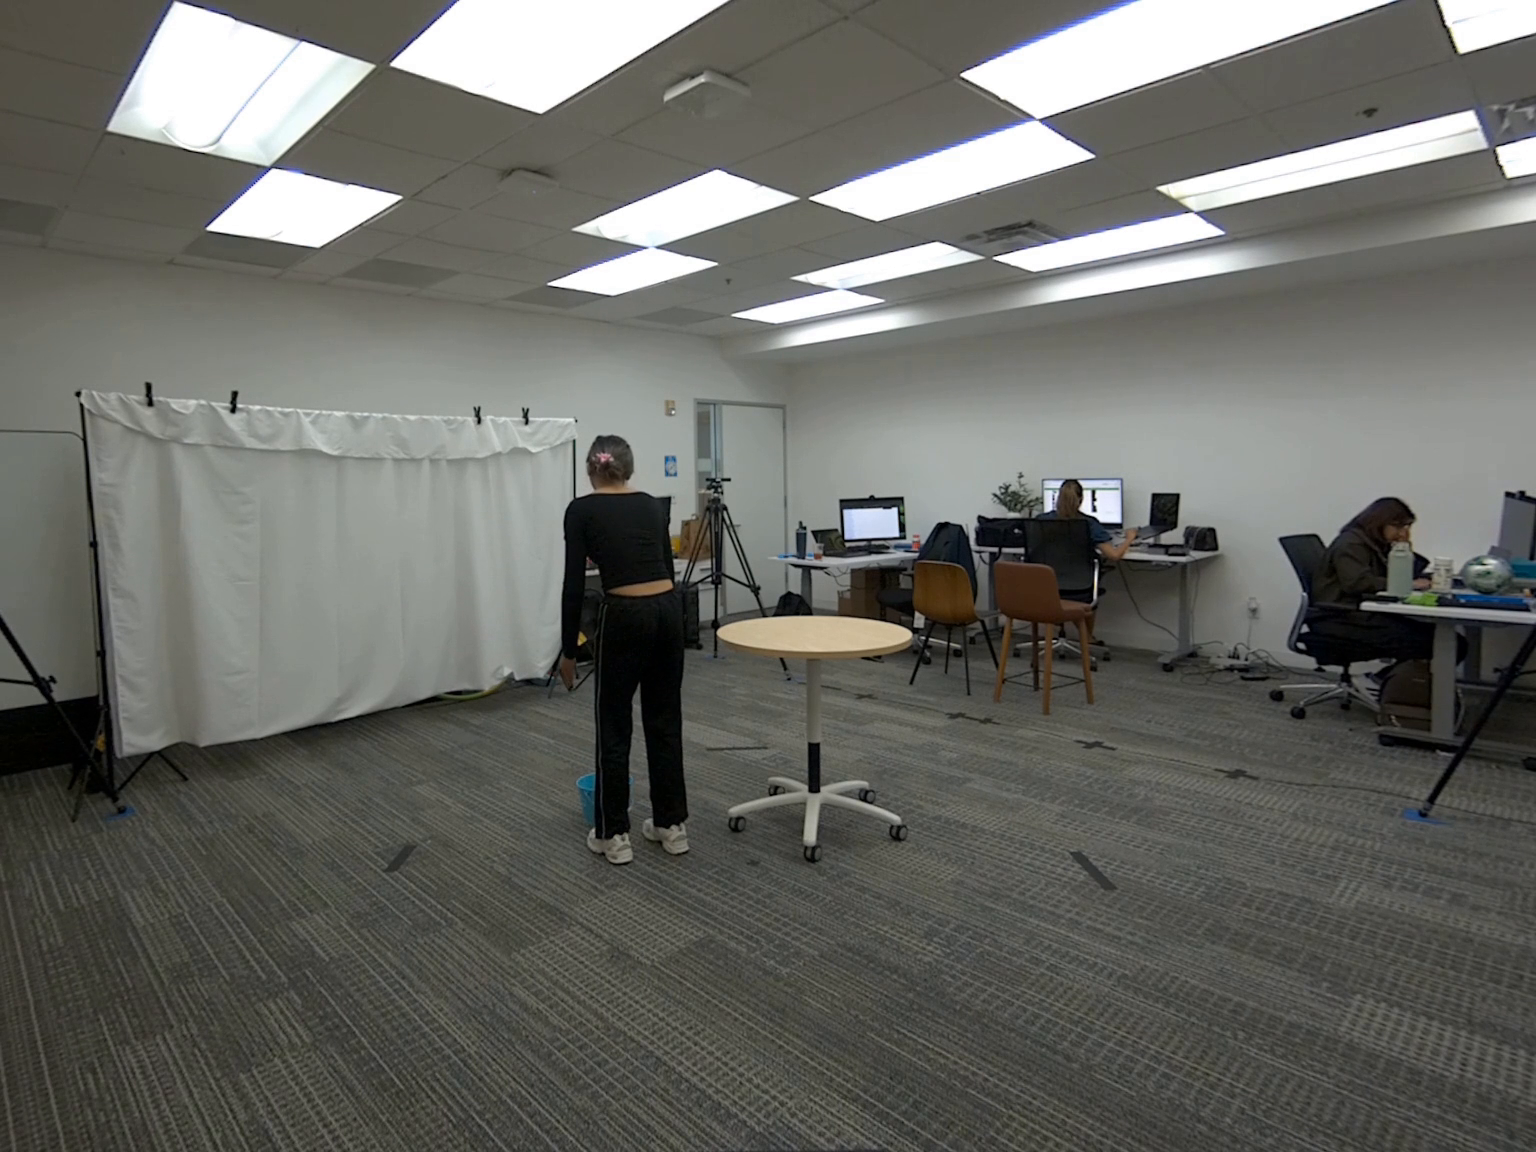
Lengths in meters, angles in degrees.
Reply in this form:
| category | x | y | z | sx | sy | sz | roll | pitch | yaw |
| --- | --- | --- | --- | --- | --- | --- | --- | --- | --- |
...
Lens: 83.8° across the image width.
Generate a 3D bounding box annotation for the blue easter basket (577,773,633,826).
| category | x | y | z | sx | sy | sz | roll | pitch | yaw |
| --- | --- | --- | --- | --- | --- | --- | --- | --- | --- |
| blue easter basket | -0.676 | 0.930 | 3.552 | 0.243 | 0.155 | 0.245 | -2 | 5 | -2 |
